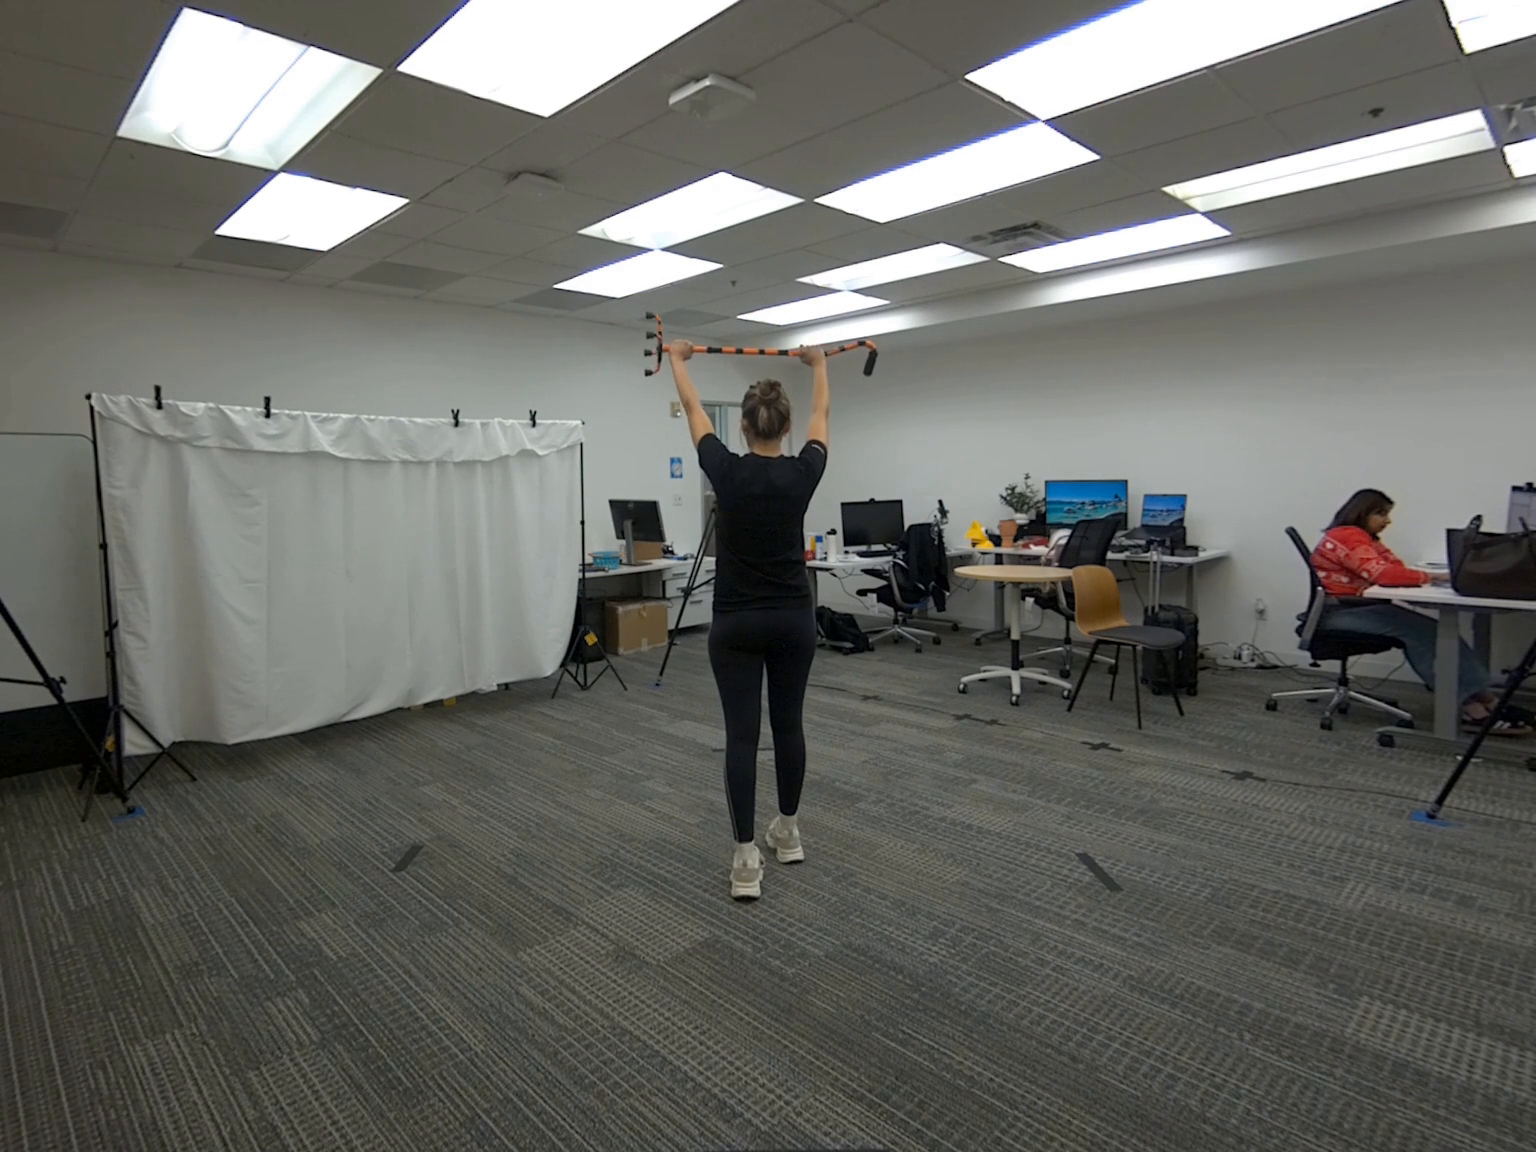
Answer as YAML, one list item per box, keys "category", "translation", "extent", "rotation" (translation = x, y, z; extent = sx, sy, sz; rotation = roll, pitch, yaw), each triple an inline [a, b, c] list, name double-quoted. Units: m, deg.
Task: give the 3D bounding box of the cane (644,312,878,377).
- category: "cane"
  translation: [-0.014, -0.881, 3.313]
  extent: [0.901, 0.156, 0.202]
  rotation: [1, -39, -7]
